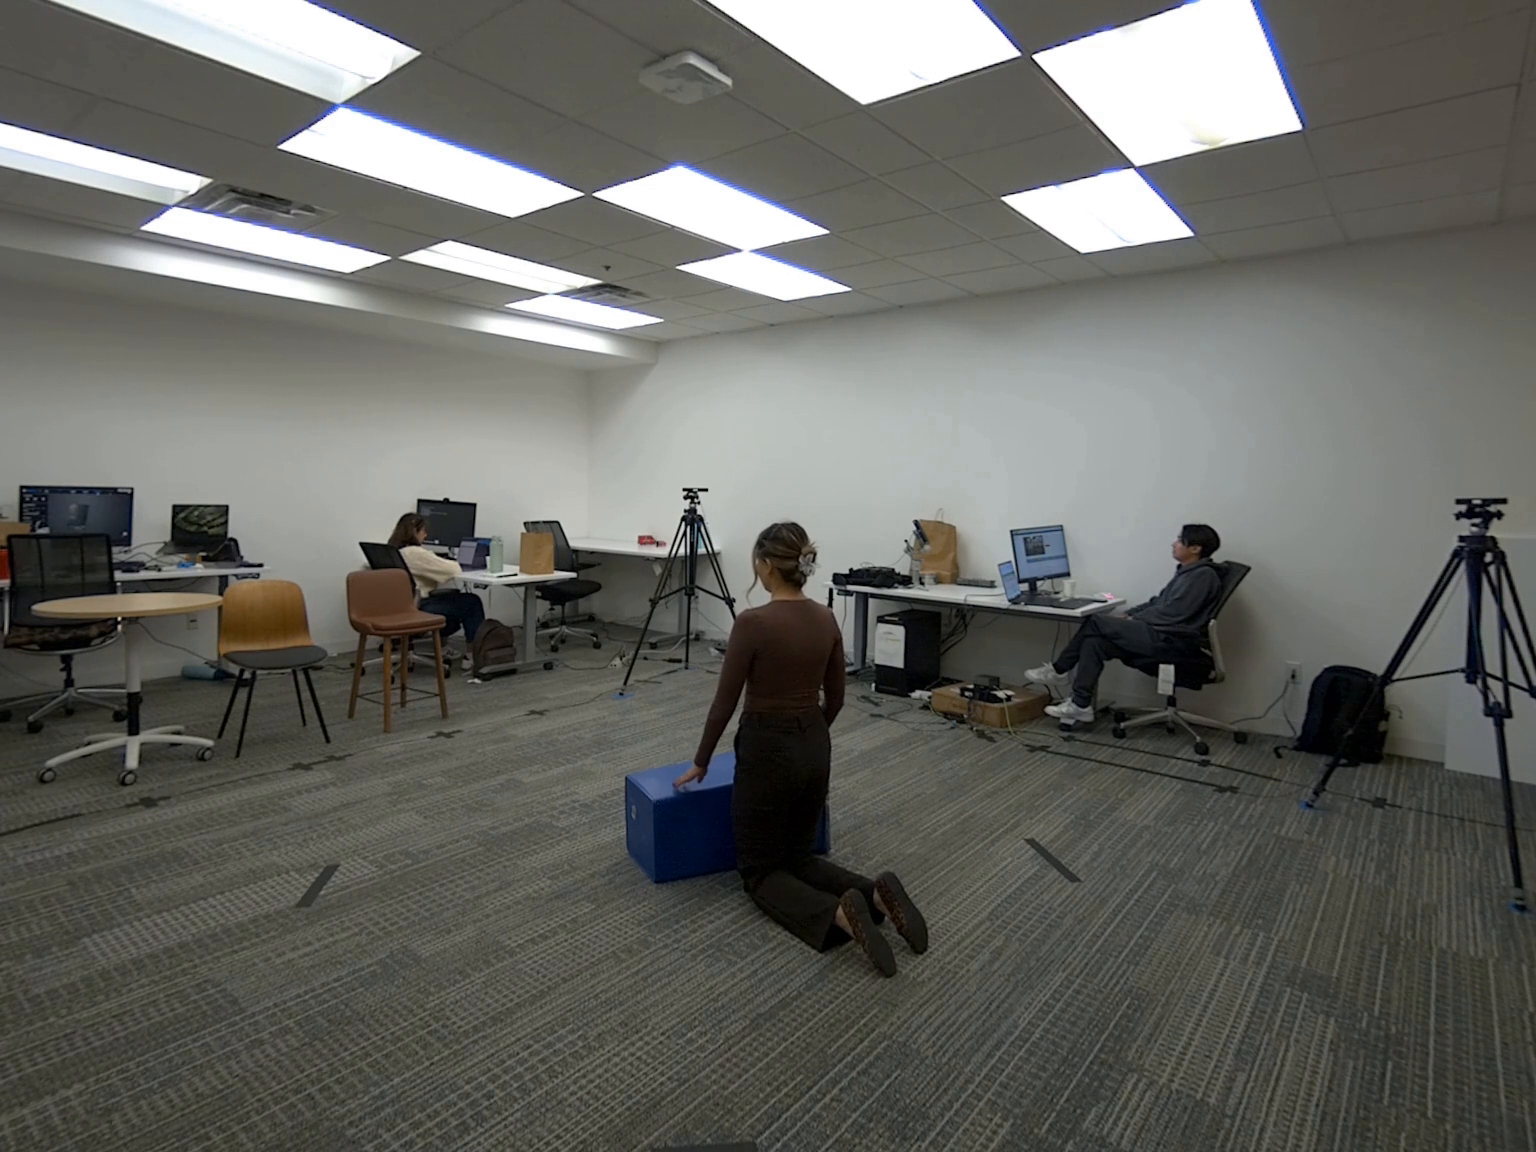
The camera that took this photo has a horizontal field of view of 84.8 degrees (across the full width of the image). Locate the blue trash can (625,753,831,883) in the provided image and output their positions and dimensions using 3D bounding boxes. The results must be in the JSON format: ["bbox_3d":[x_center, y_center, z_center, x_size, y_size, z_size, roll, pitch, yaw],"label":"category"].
[{"bbox_3d":[-0.171,0.882,3.258,0.697,0.376,0.385,-3,6,-26],"label":"blue trash can"}]
